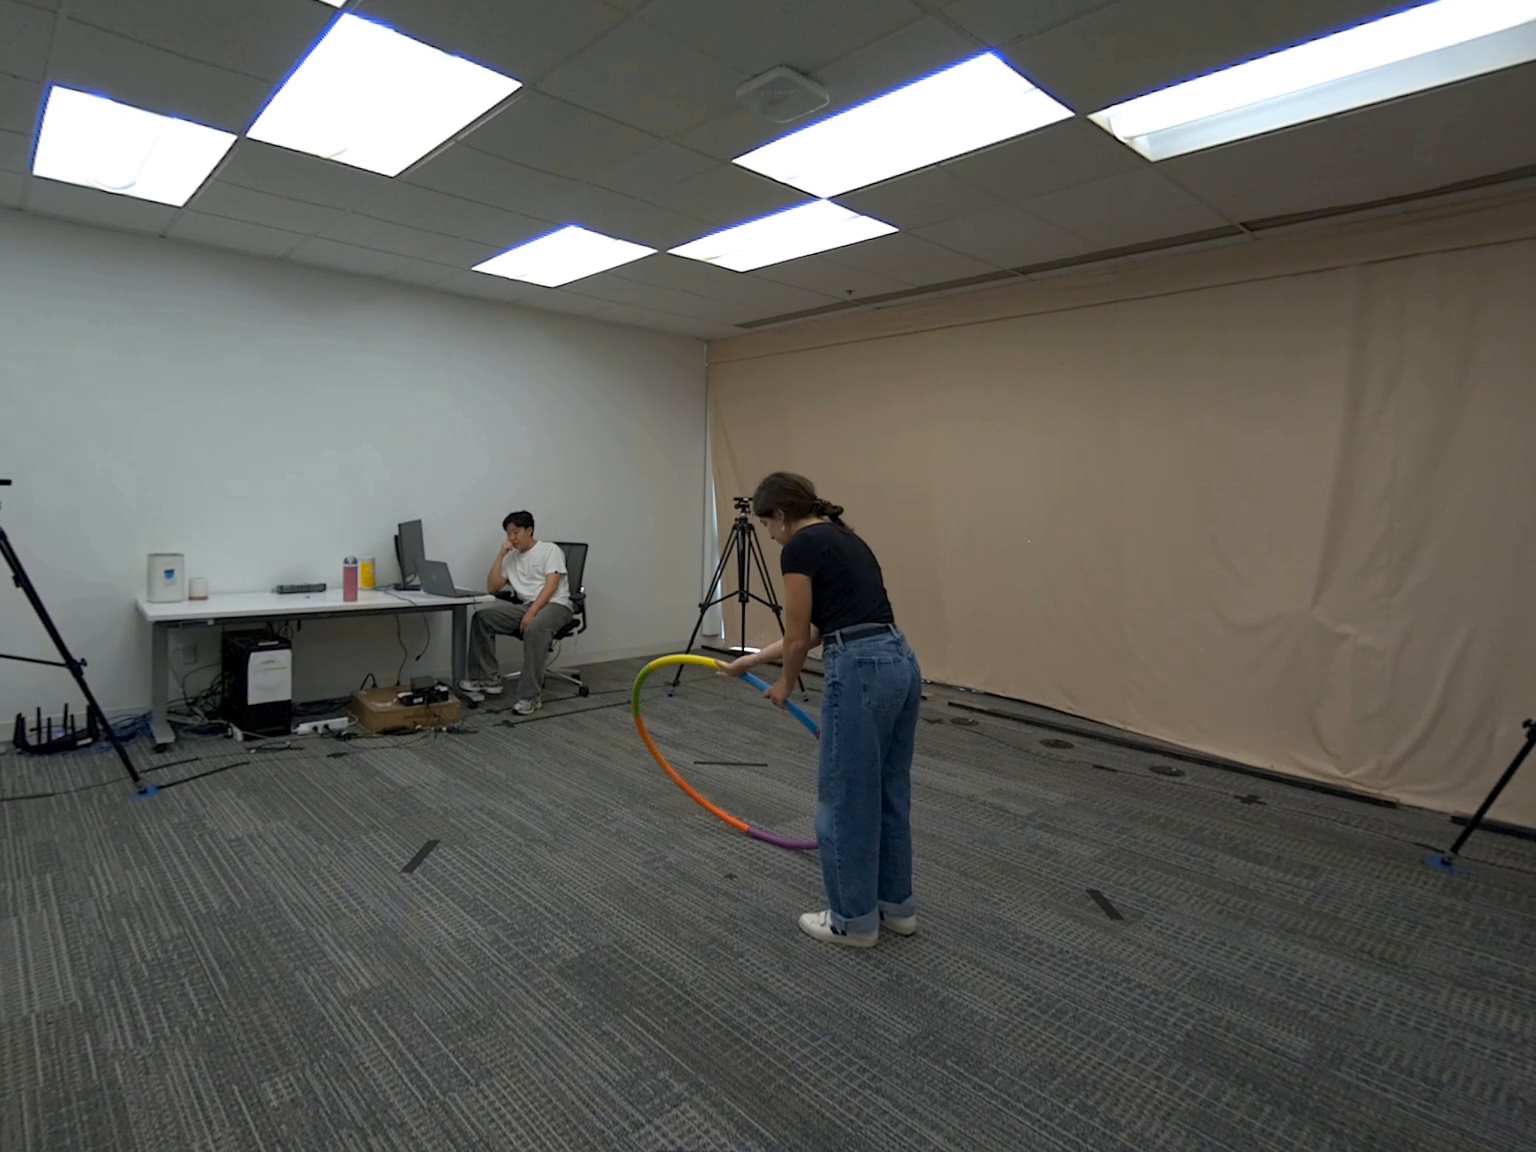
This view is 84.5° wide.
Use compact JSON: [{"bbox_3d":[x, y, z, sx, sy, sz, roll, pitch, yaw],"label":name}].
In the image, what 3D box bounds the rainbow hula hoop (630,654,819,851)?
[{"bbox_3d":[-0.124,0.694,3.203,1.002,0.955,0.035,5,37,36],"label":"rainbow hula hoop"}]
